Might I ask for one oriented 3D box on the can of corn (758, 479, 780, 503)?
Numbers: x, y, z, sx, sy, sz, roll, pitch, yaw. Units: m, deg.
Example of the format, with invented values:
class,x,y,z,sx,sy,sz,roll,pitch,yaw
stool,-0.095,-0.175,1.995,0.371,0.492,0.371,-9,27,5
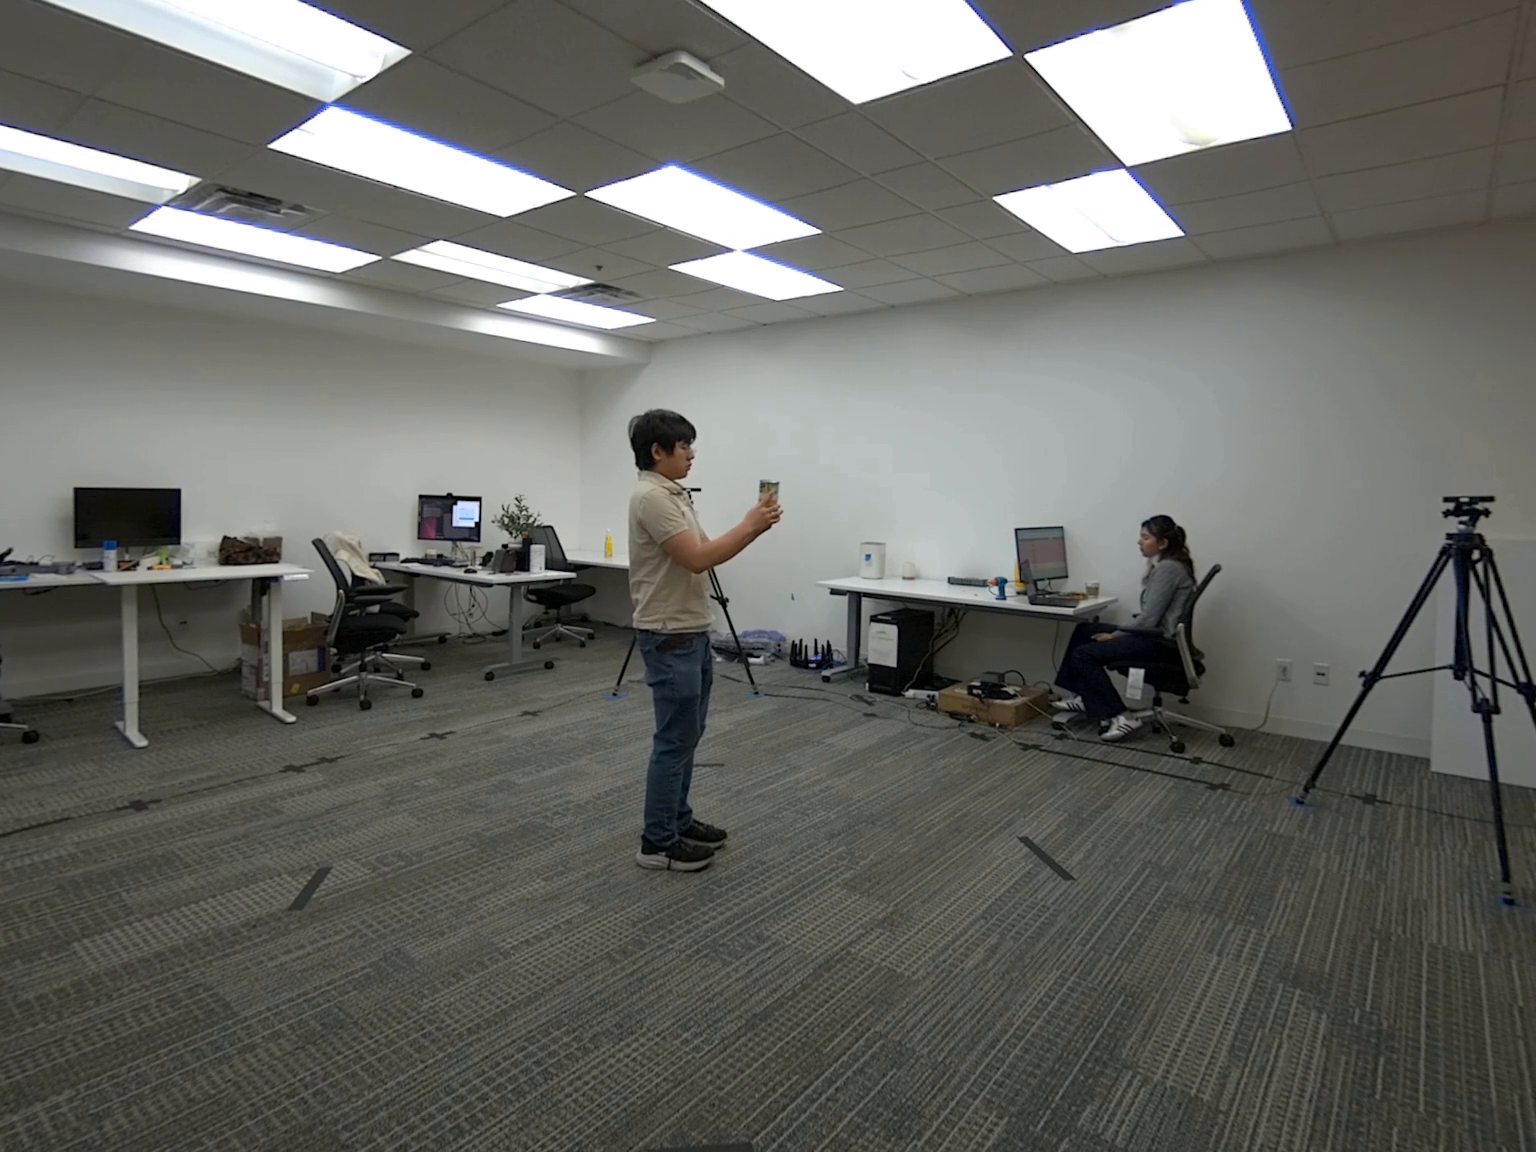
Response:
class,x,y,z,sx,sy,sz,roll,pitch,yaw
can of corn,-0.012,-0.303,3.187,0.074,0.110,0.075,6,7,-3
